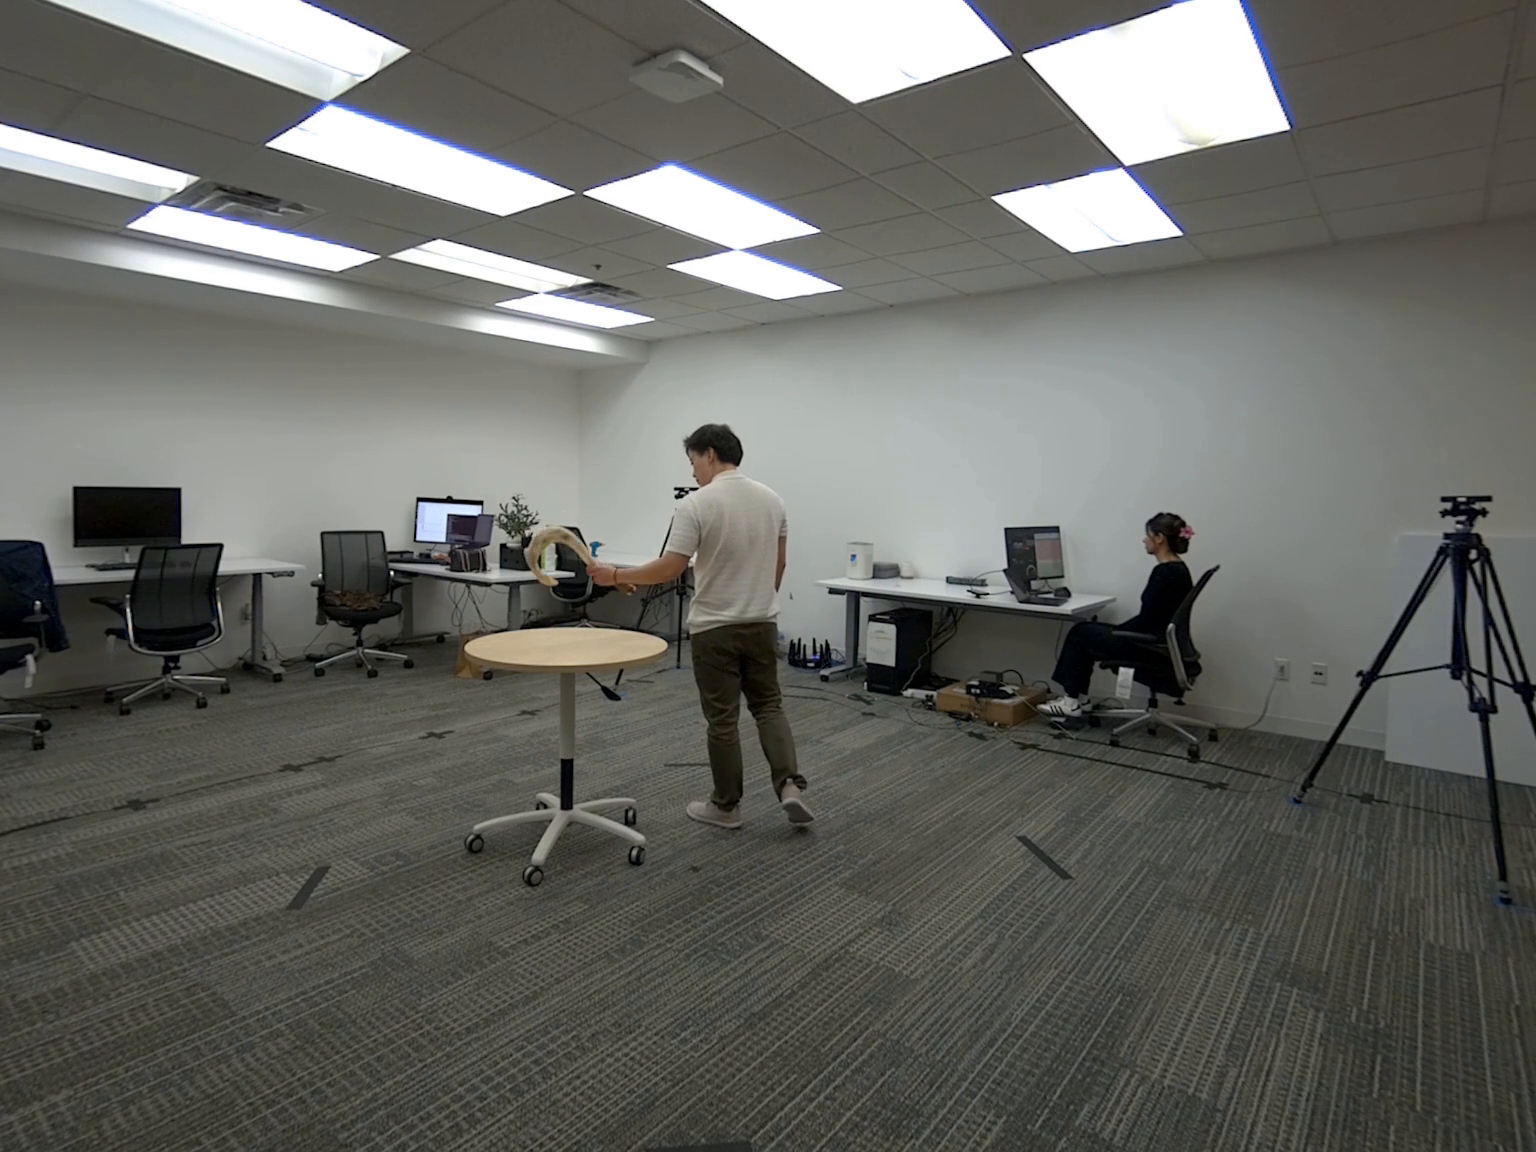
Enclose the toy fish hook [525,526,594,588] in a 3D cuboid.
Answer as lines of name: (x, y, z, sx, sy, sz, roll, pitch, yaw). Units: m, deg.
toy fish hook: (-0.749, 0.005, 3.385, 0.488, 0.224, 0.050, 37, -2, -31)
